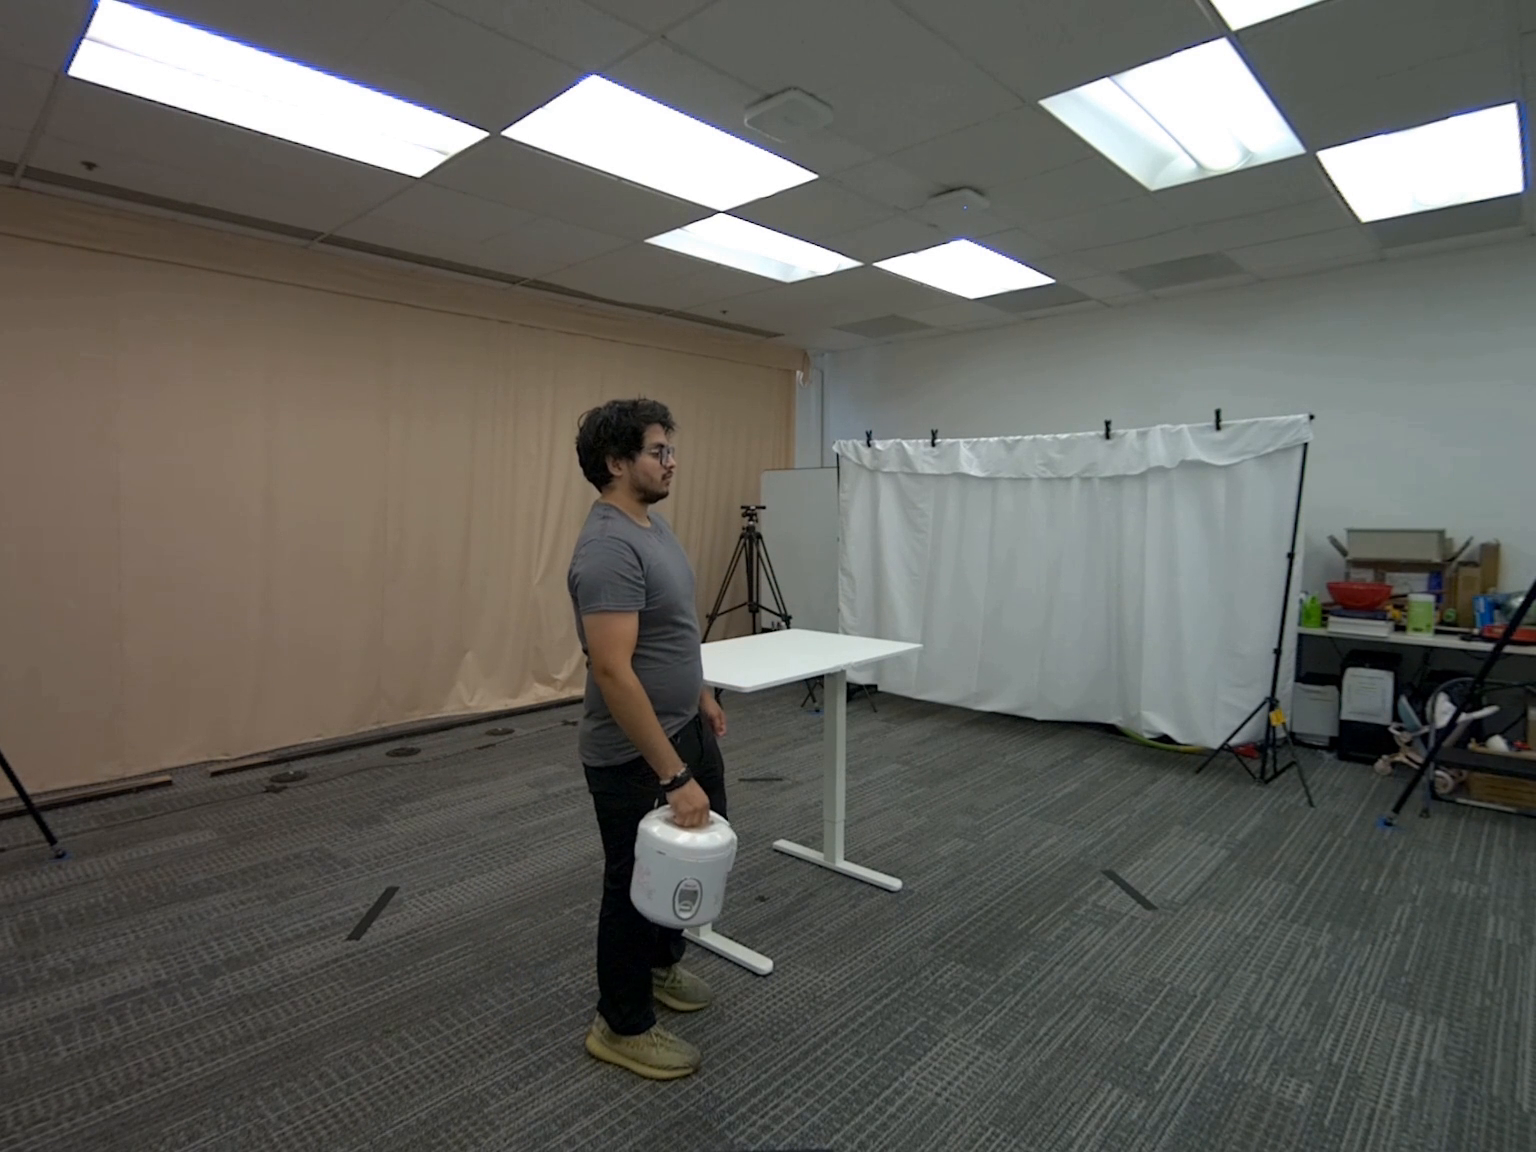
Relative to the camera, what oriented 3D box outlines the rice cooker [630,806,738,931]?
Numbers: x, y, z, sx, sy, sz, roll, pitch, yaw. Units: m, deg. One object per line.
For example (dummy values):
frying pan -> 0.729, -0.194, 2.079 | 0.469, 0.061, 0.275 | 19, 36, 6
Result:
rice cooker -> -0.178, 0.612, 1.838 | 0.217, 0.232, 0.221 | 8, 2, -13
